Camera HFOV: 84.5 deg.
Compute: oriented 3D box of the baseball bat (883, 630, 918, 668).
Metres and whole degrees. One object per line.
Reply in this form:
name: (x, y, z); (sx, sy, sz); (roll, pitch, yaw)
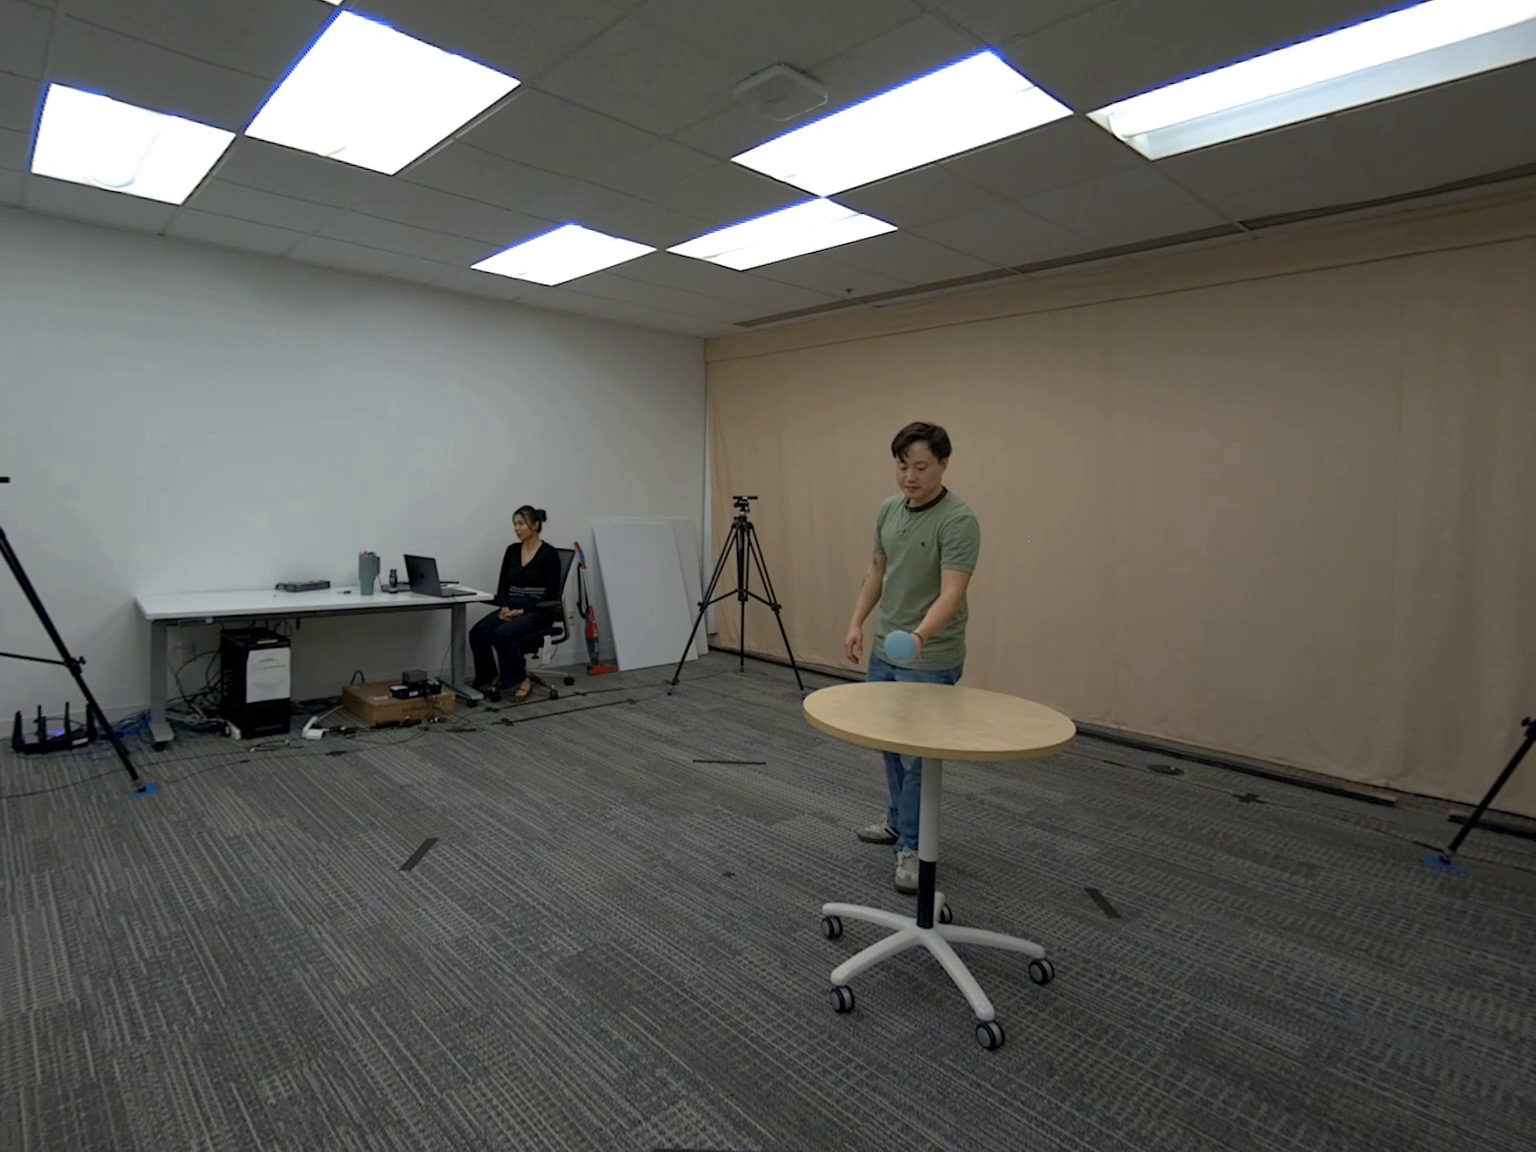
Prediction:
baseball bat: (0.397, 0.225, 2.539); (0.090, 0.089, 0.533); (3, -8, 13)
